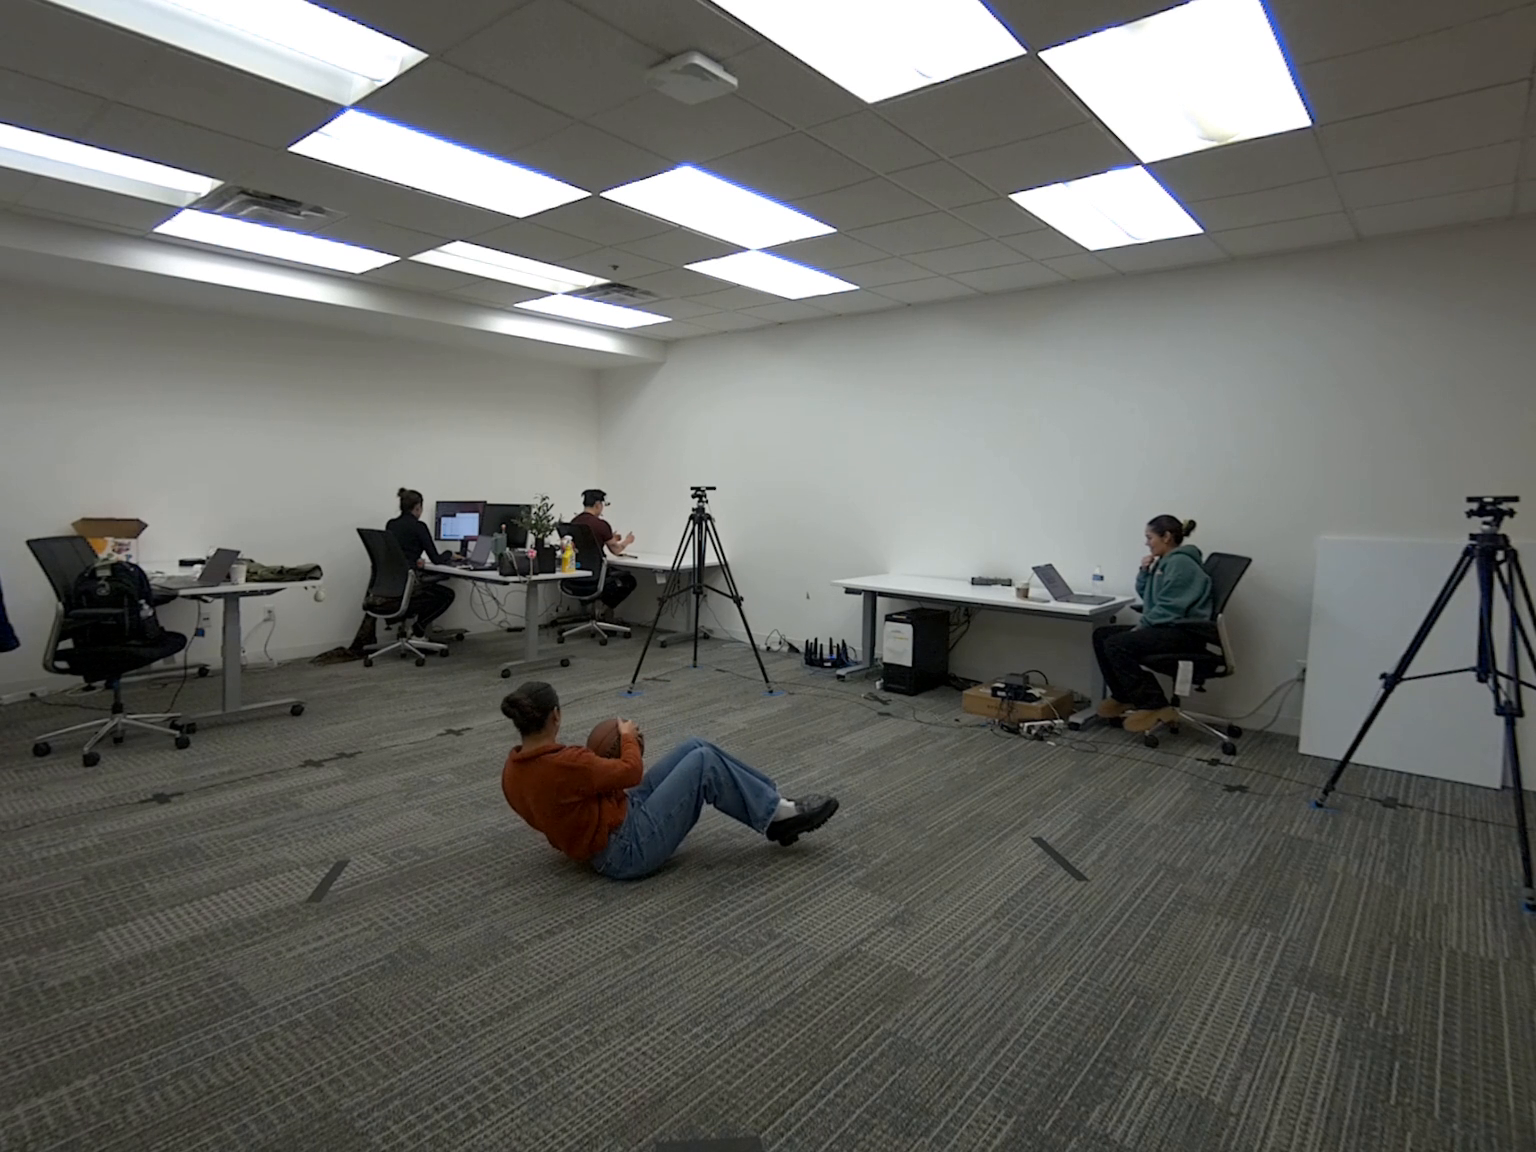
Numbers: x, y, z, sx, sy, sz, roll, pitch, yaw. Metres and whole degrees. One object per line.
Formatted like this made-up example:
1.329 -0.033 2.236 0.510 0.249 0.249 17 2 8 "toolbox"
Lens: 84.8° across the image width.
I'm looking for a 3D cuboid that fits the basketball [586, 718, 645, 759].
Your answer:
-0.629 0.689 3.452 0.235 0.235 0.237 1 4 -2 "basketball"
